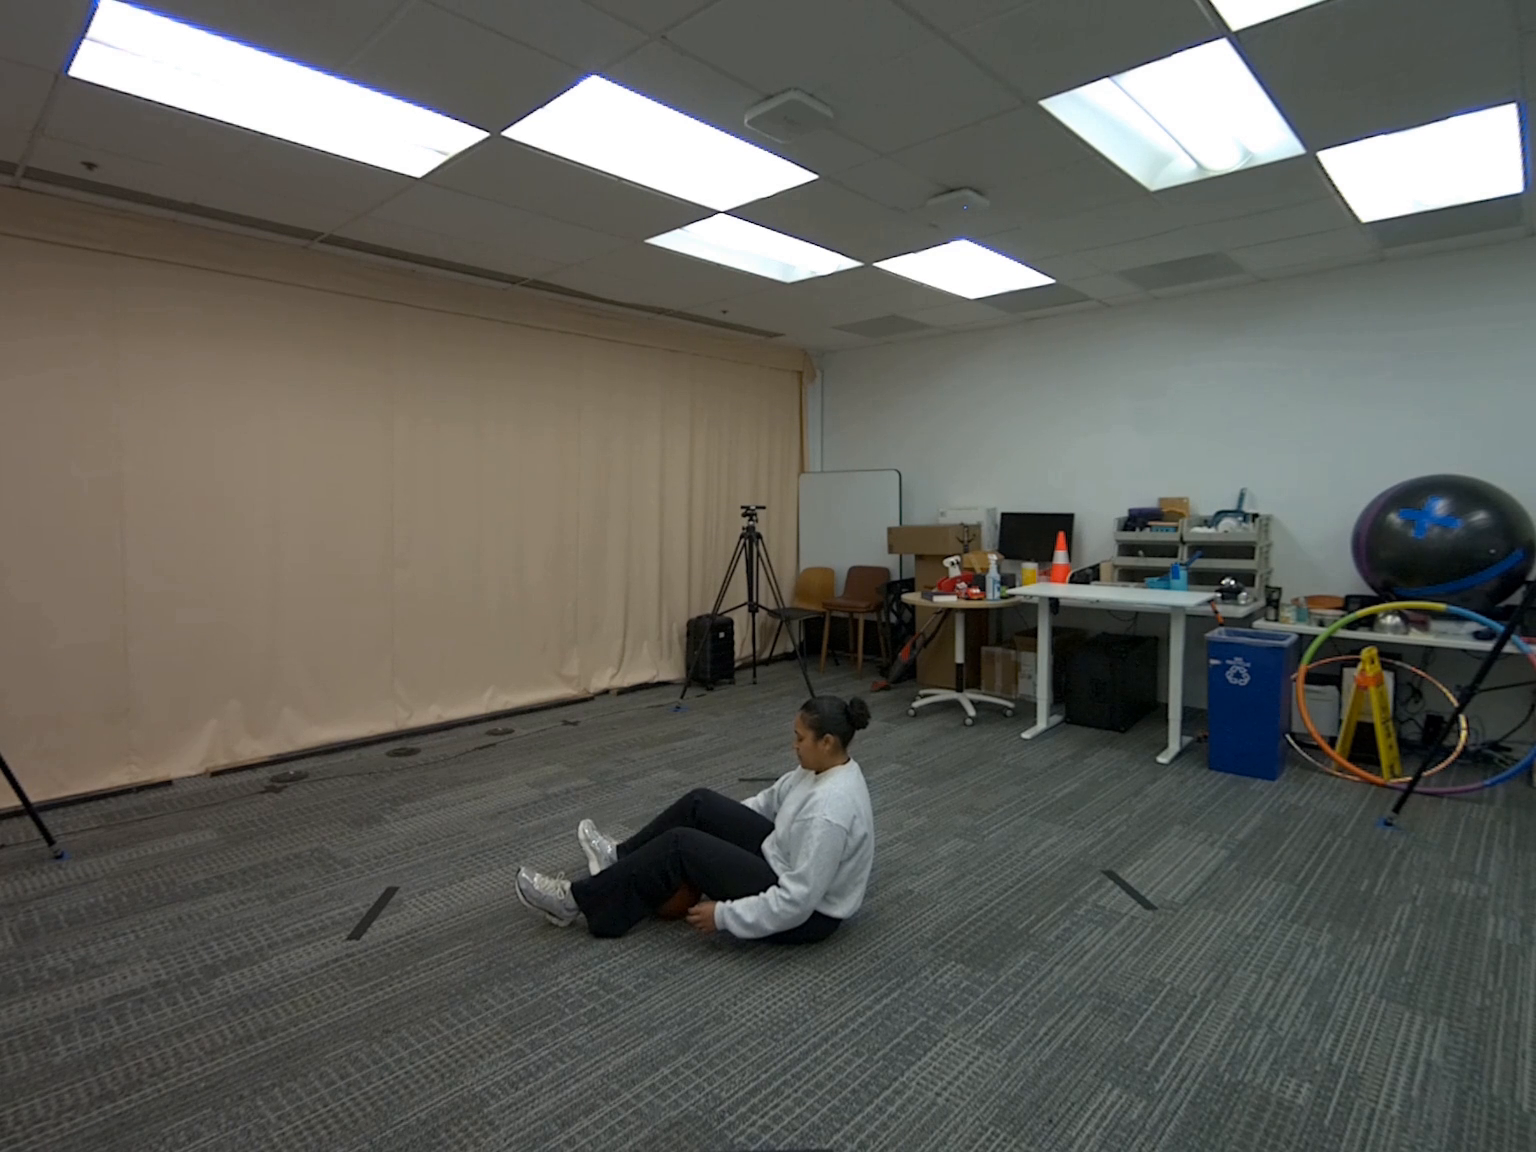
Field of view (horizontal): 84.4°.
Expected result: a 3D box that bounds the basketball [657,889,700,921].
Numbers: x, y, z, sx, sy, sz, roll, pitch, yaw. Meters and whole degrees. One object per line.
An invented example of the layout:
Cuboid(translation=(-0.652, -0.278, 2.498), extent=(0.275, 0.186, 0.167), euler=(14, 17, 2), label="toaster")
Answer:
Cuboid(translation=(-0.331, 1.033, 2.879), extent=(0.236, 0.235, 0.237), euler=(0, 4, -2), label="basketball")
